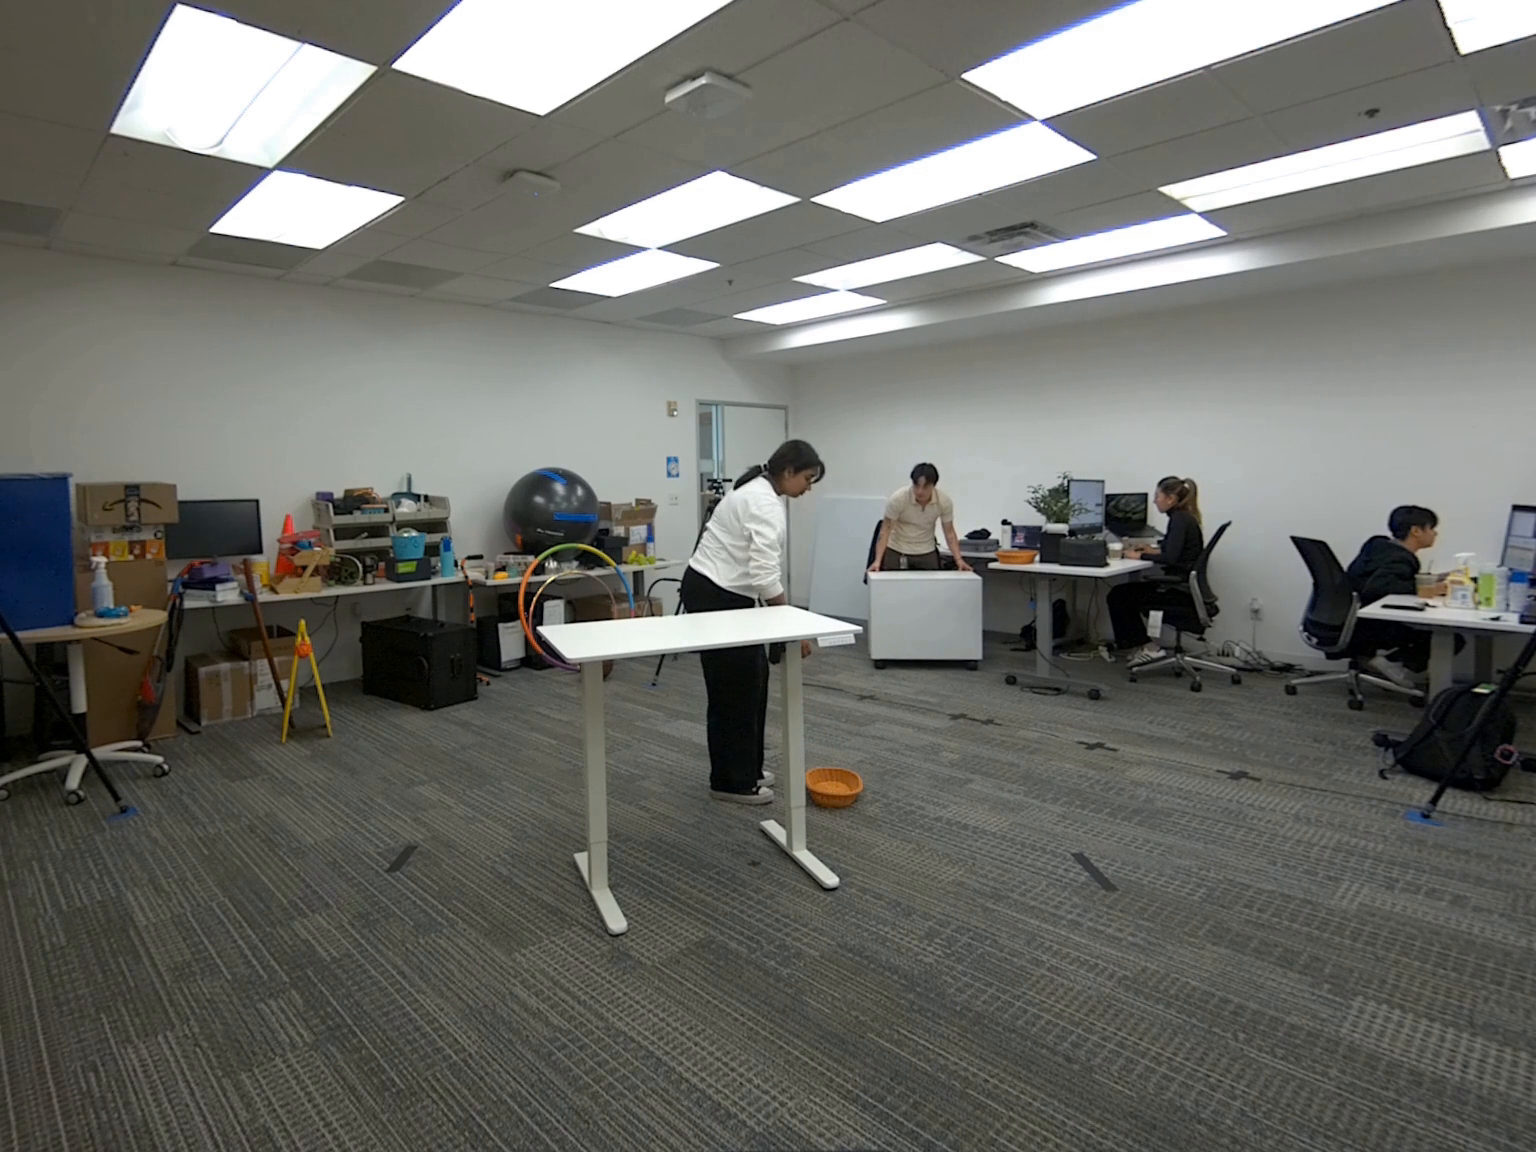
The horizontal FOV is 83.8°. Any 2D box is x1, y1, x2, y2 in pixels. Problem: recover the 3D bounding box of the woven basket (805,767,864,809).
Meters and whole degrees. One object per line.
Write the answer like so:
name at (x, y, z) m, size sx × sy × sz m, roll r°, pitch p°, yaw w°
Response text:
woven basket at (0.286, 0.925, 3.757) m, size 0.253 × 0.073 × 0.350 m, roll 2°, pitch 6°, yaw 3°
